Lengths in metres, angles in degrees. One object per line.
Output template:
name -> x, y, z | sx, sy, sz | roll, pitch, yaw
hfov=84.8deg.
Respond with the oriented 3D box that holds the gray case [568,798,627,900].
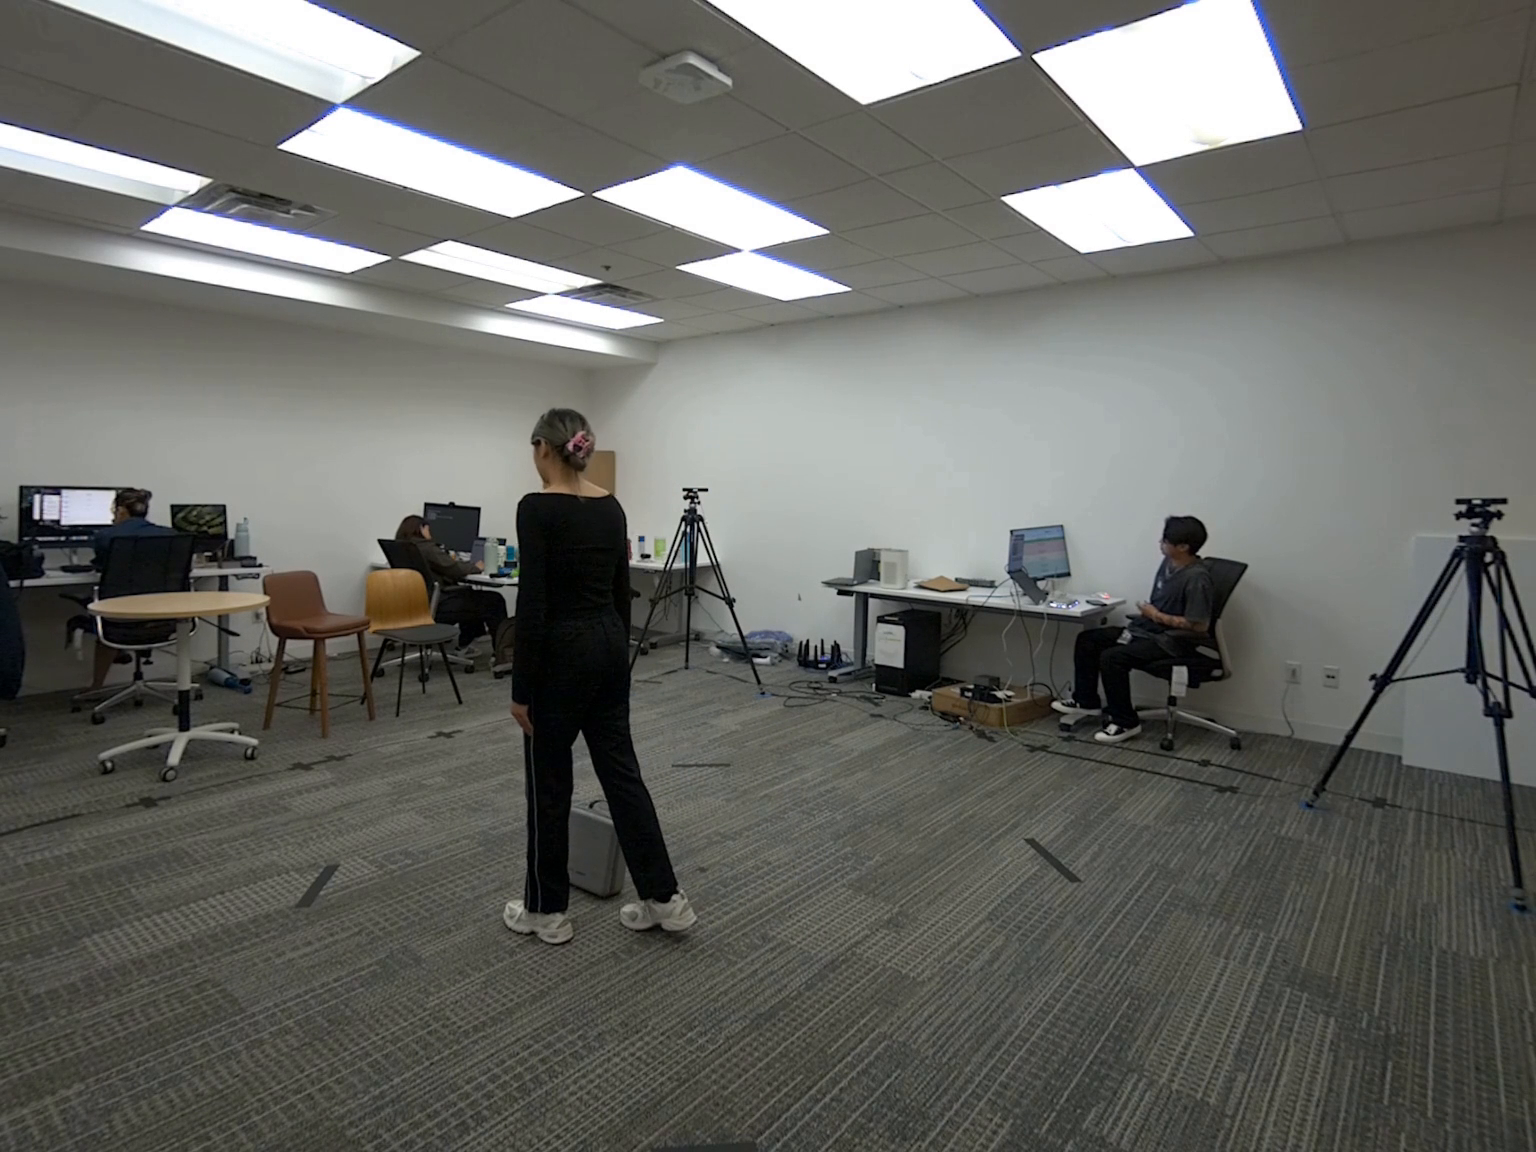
gray case -> -0.617, 0.944, 2.964 | 0.265, 0.262, 0.100 | 4, -6, 38
